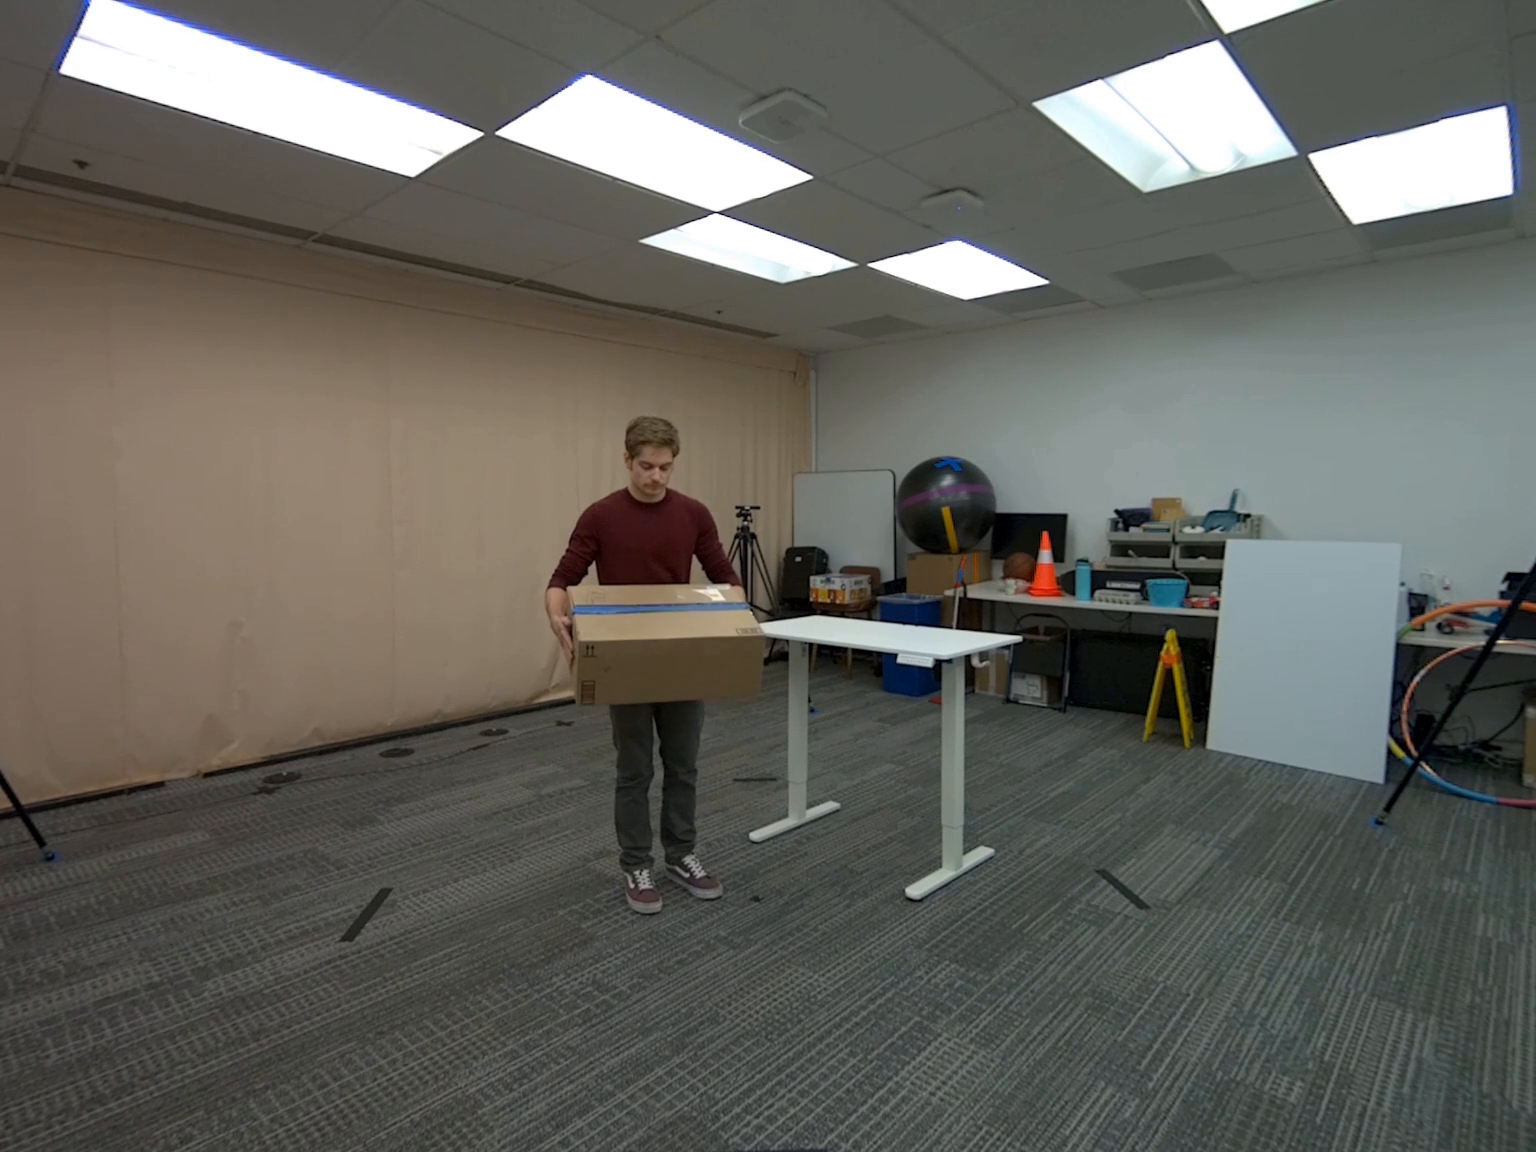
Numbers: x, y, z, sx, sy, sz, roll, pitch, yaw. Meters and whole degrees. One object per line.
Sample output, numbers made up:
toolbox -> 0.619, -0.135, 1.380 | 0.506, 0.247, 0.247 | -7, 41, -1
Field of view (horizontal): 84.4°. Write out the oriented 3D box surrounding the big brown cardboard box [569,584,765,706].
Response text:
big brown cardboard box -> -0.337, 0.202, 2.686 | 0.579, 0.231, 0.429 | -2, 20, -17
